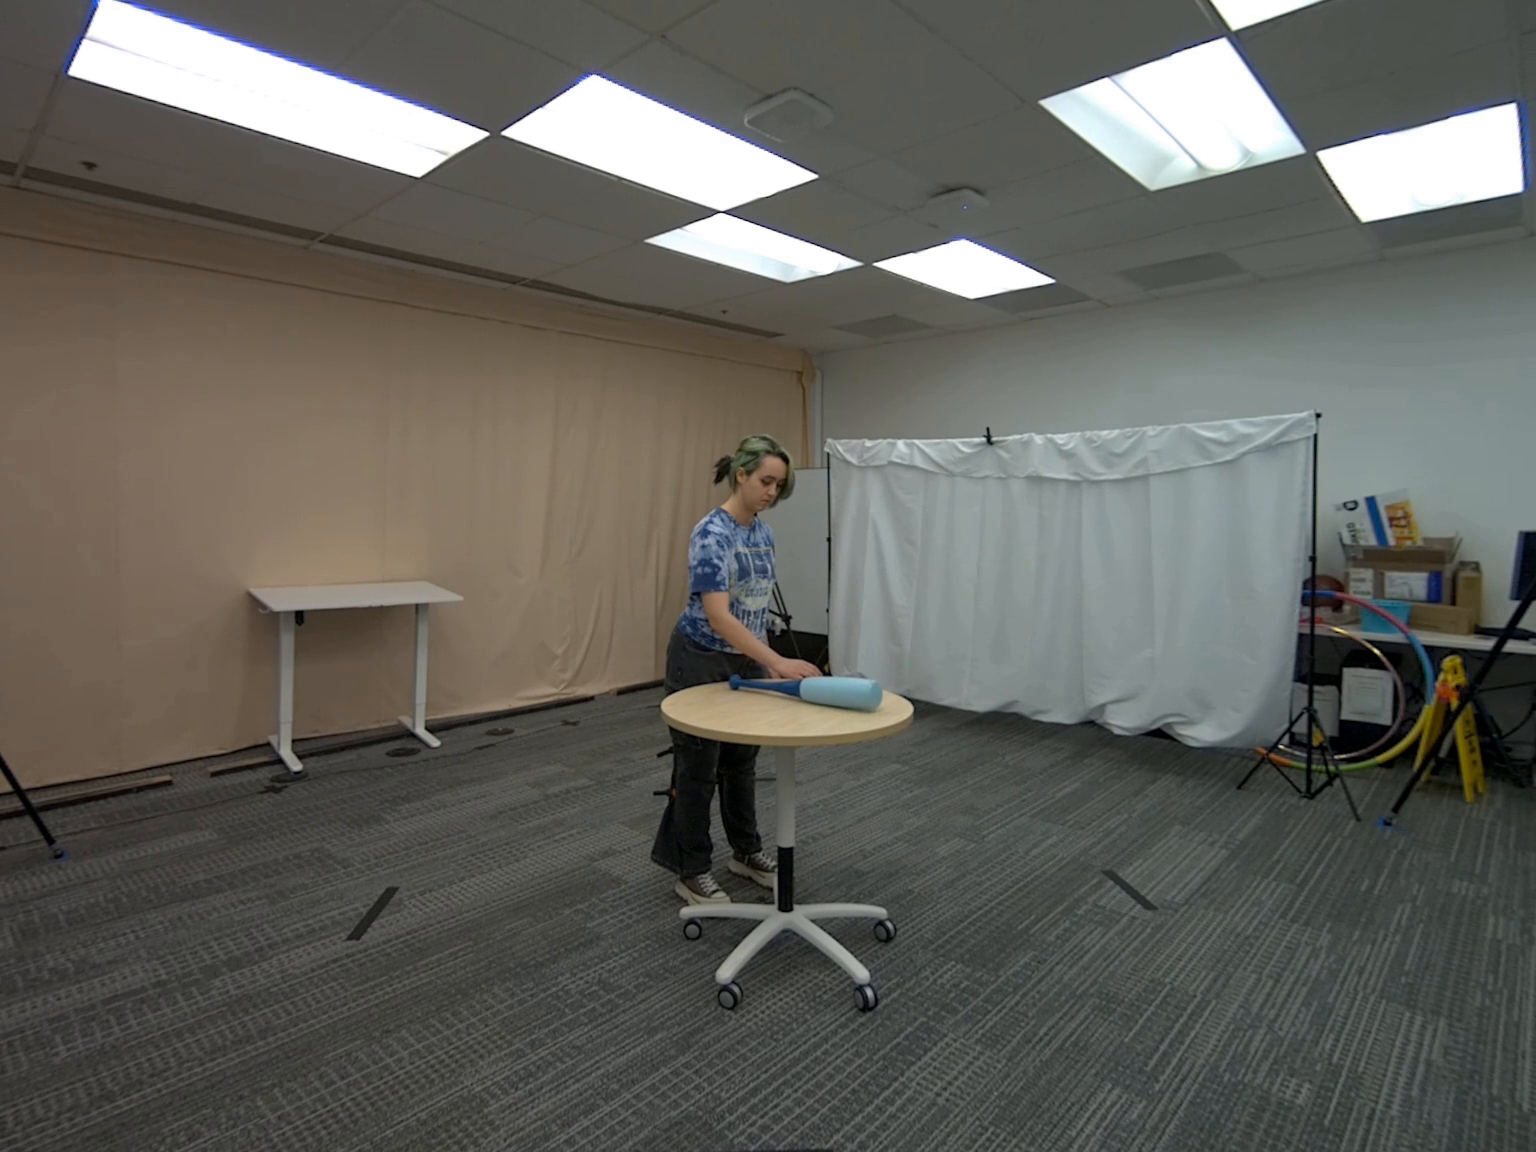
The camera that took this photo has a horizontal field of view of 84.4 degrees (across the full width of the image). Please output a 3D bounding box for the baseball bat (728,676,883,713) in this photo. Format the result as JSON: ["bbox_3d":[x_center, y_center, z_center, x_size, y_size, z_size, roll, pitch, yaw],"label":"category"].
[{"bbox_3d":[0.102,0.355,2.628,0.560,0.089,0.086,-1,2,39],"label":"baseball bat"}]
